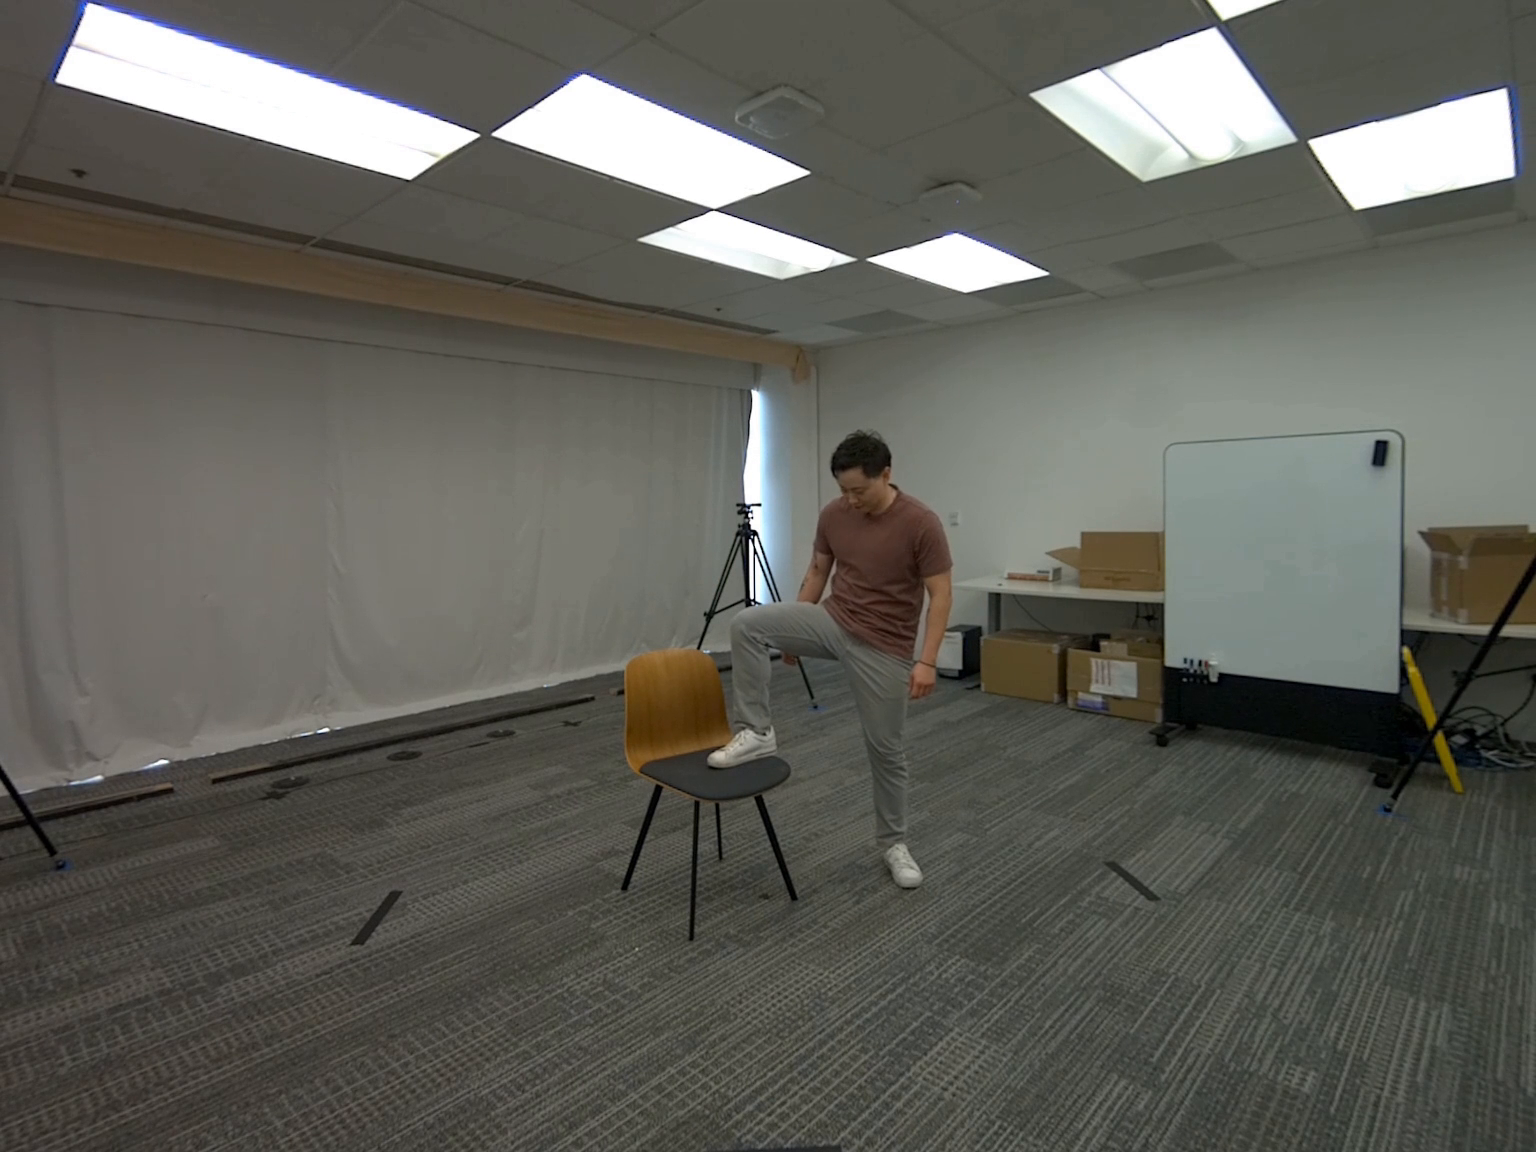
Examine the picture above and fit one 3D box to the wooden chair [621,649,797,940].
[{"bbox_3d":[-0.214,0.717,2.962,0.464,0.877,0.539,-4,0,-38],"label":"wooden chair"}]
